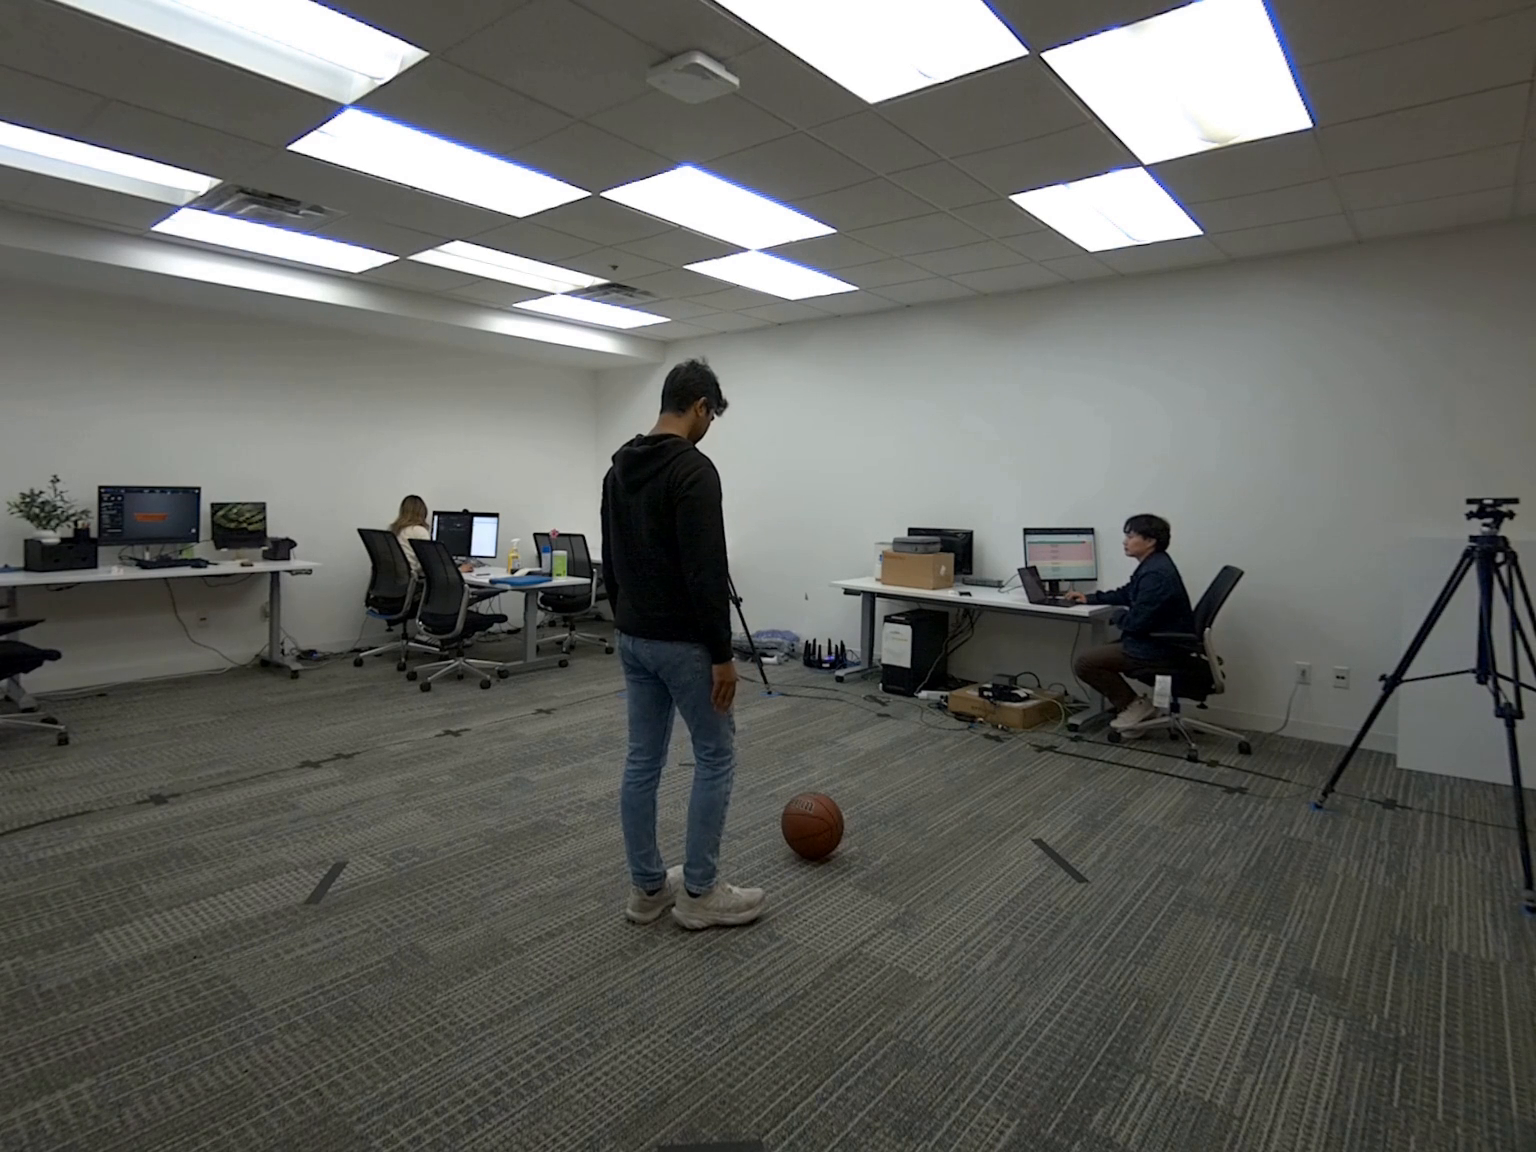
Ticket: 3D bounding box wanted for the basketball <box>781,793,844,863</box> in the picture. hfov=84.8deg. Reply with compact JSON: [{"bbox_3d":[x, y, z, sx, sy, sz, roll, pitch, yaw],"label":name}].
[{"bbox_3d":[0.158,0.939,3.233,0.235,0.235,0.237,1,4,-2],"label":"basketball"}]
